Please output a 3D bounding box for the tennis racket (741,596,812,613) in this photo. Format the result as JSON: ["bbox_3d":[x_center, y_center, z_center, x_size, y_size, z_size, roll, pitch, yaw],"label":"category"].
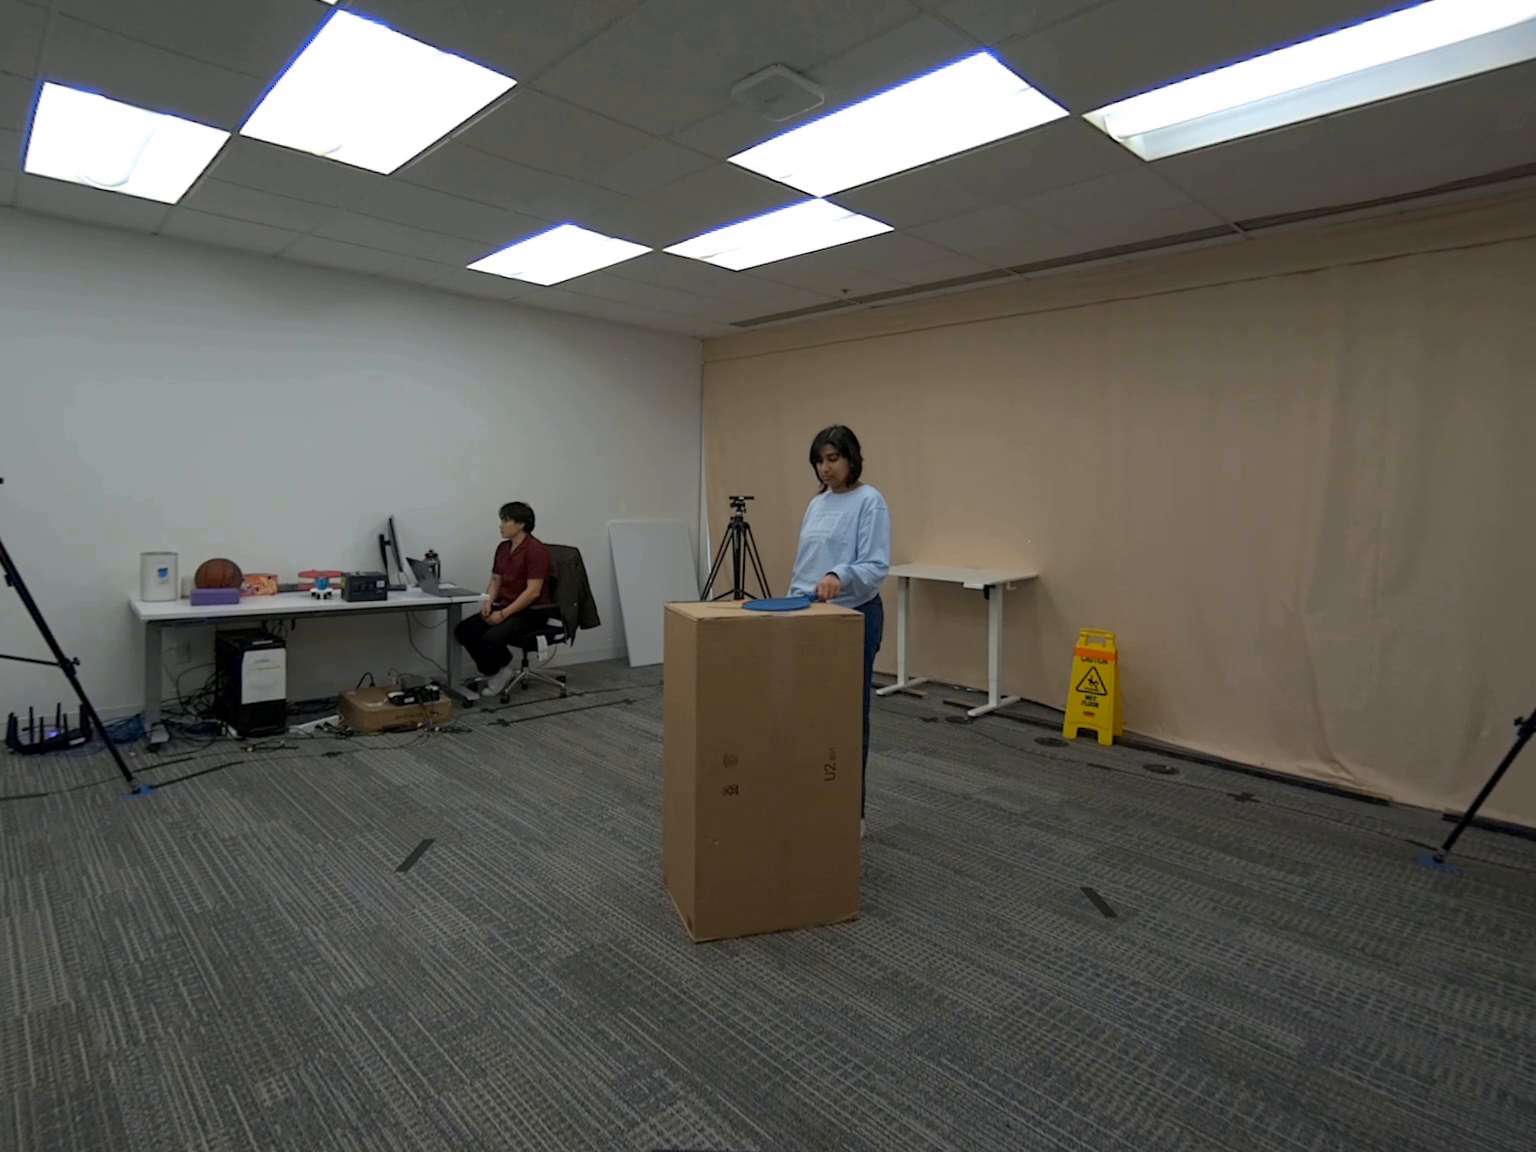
[{"bbox_3d":[0.076,0.100,2.908,0.219,0.031,0.423,7,8,43],"label":"tennis racket"}]
